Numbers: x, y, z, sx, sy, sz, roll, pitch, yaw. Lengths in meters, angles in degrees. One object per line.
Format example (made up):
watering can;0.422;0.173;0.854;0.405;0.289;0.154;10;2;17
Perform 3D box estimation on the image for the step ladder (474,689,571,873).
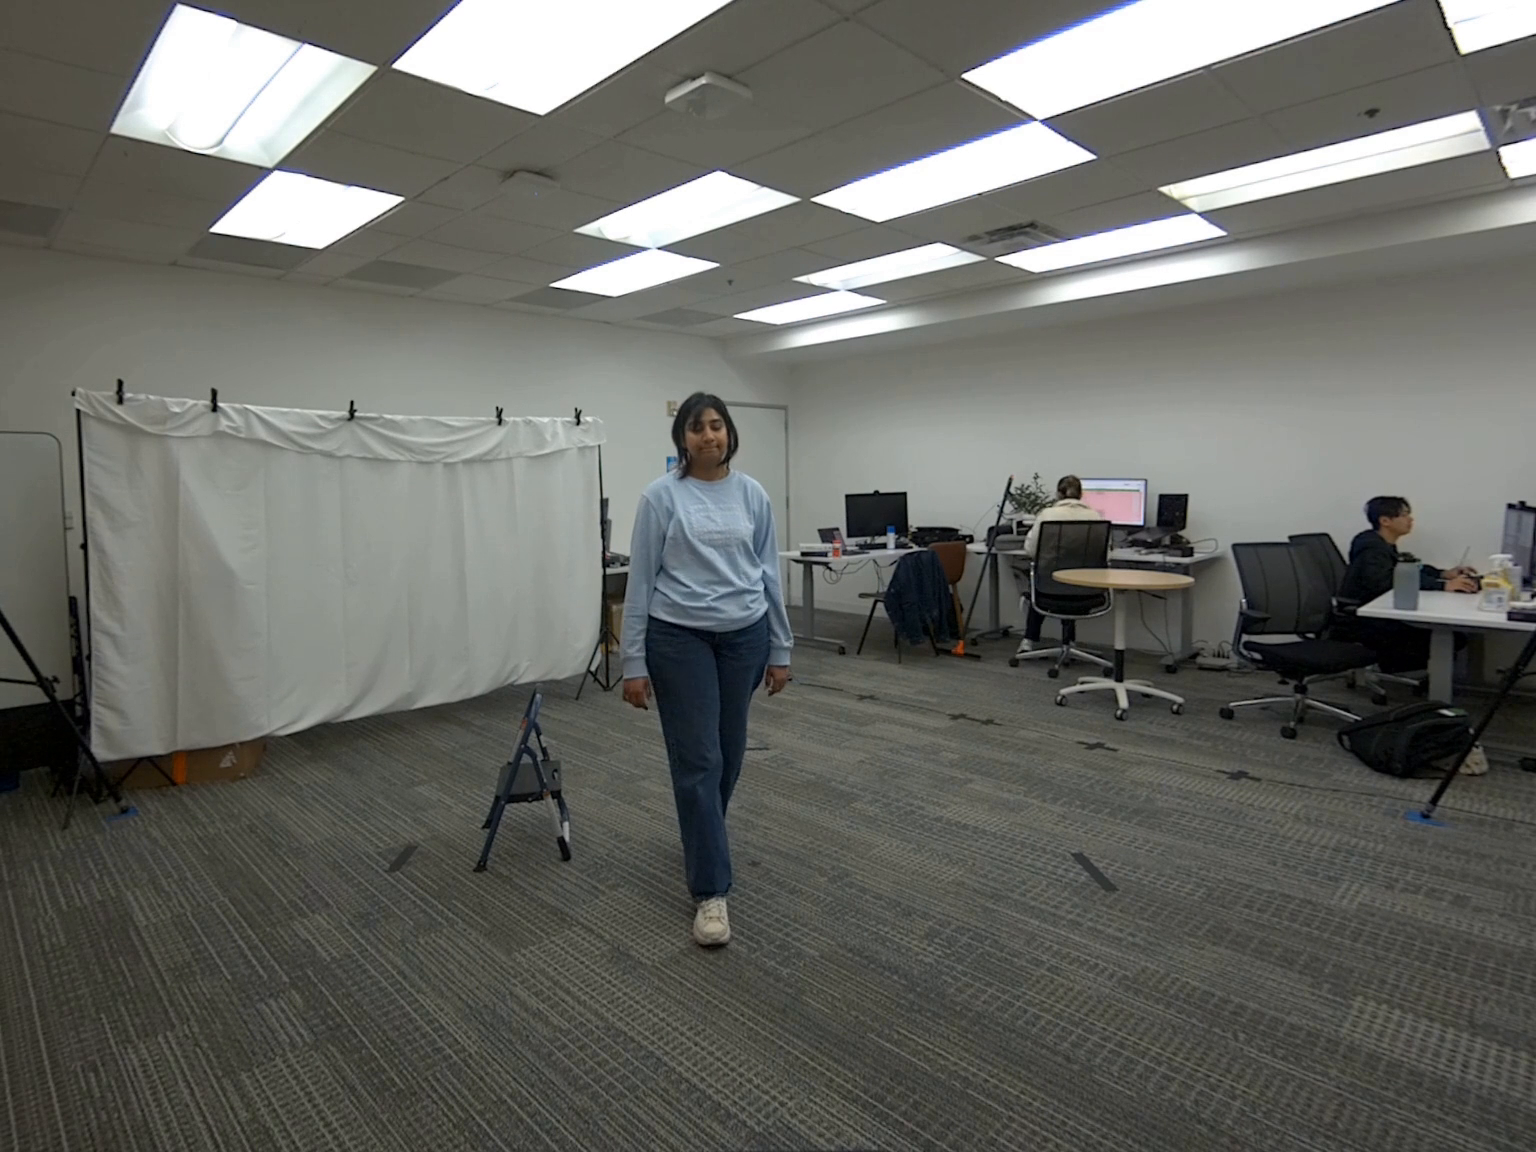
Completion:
step ladder;-0.951;0.741;3.306;0.345;0.604;0.437;-2;4;-13
